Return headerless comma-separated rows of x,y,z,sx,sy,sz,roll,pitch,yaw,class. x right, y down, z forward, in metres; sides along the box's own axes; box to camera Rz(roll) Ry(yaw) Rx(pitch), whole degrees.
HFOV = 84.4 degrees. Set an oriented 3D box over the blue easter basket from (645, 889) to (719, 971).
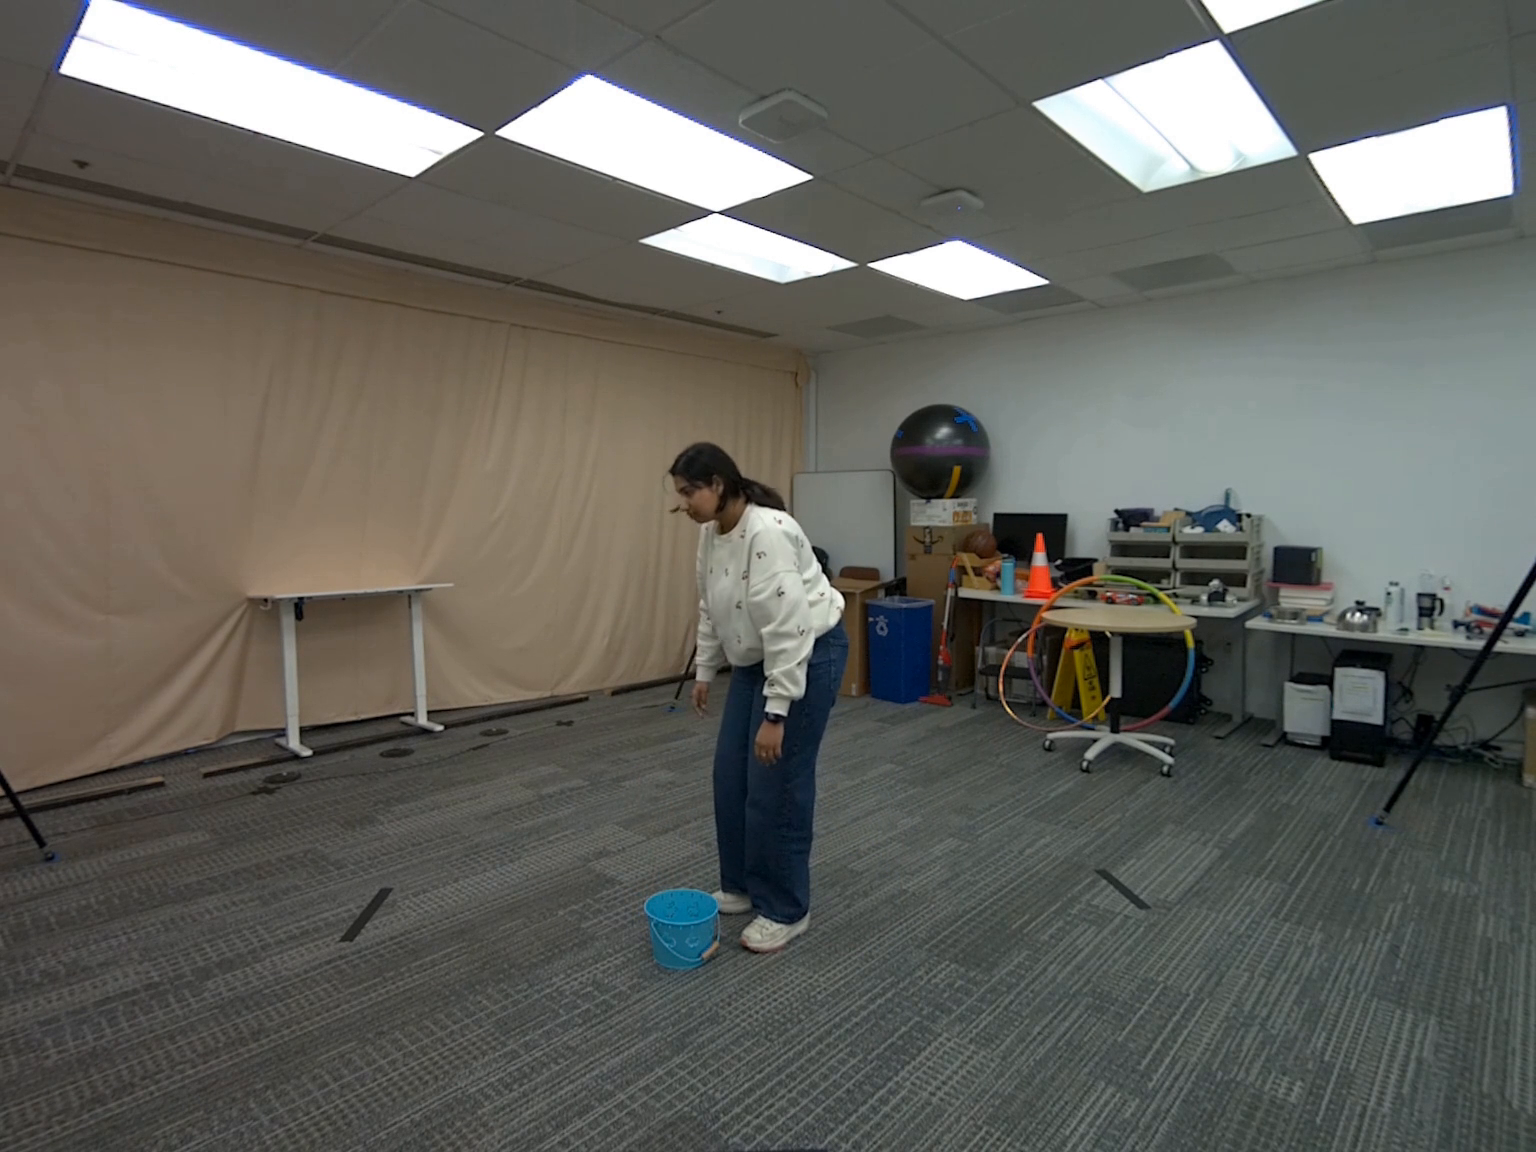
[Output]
-0.267,1.100,2.608,0.243,0.155,0.244,-1,3,-2,blue easter basket
